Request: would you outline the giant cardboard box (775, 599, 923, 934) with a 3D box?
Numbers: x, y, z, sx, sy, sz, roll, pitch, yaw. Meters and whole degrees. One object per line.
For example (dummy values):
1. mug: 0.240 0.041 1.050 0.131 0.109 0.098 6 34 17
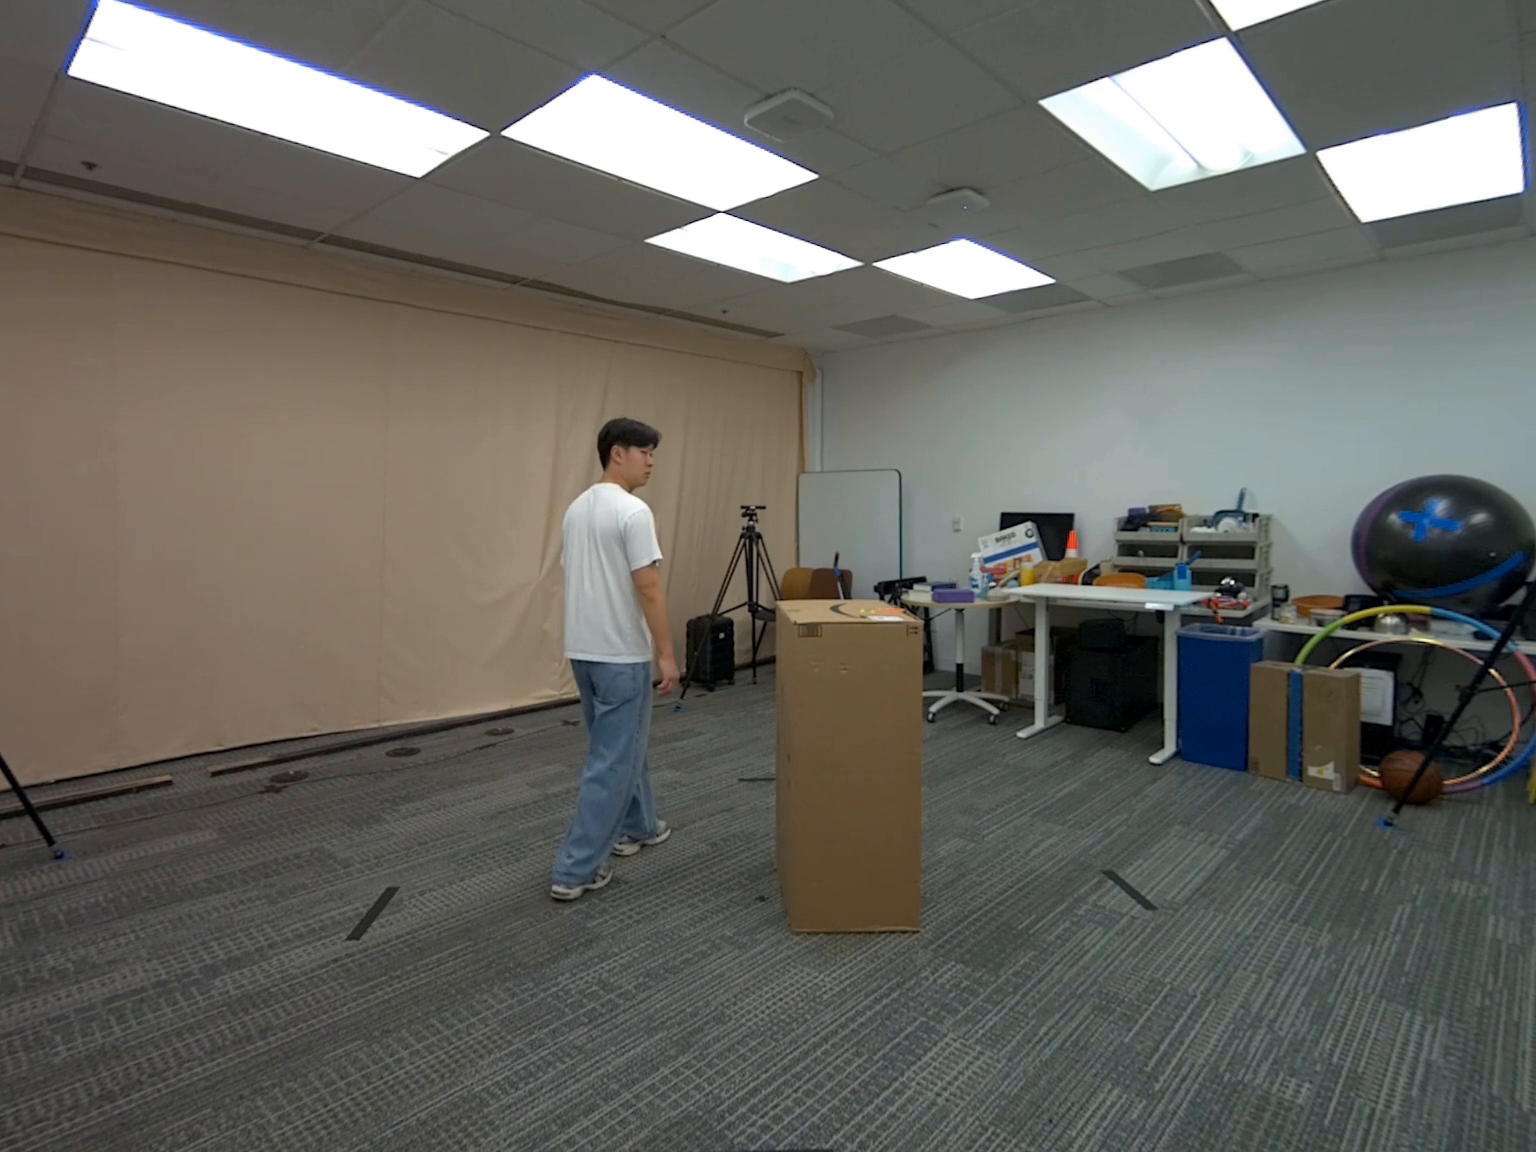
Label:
1. giant cardboard box: 0.273 0.635 2.990 0.425 1.024 0.581 0 3 -4
